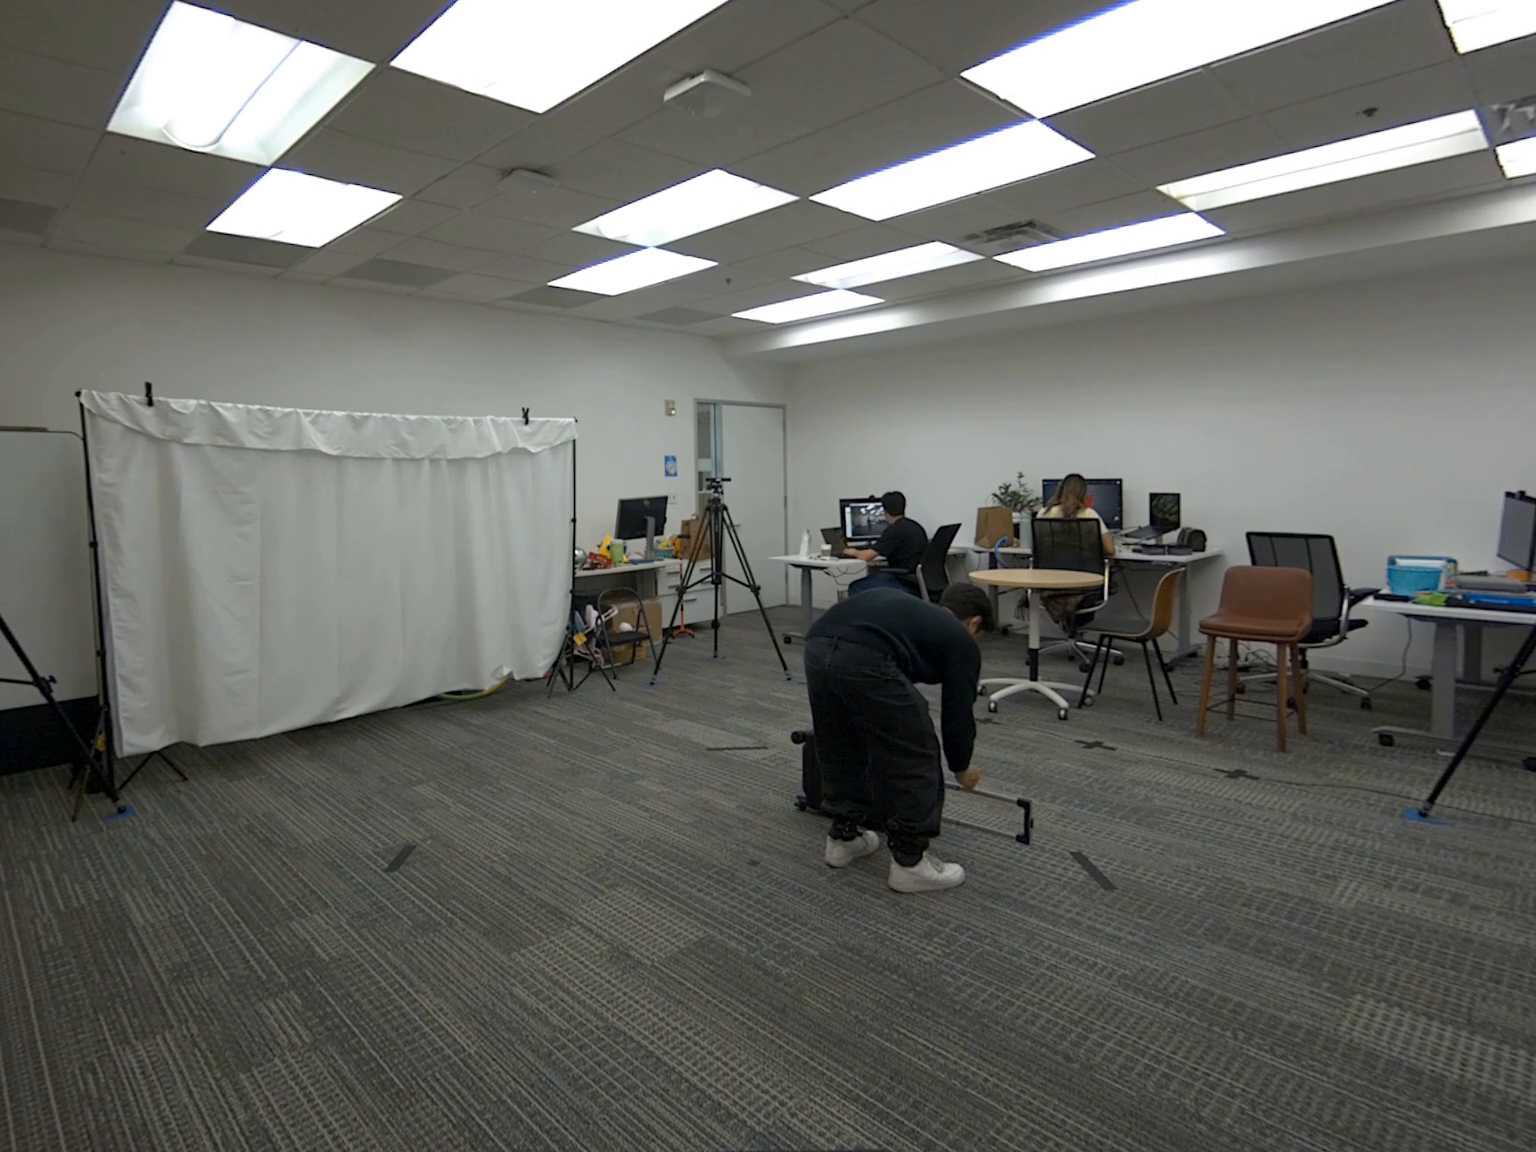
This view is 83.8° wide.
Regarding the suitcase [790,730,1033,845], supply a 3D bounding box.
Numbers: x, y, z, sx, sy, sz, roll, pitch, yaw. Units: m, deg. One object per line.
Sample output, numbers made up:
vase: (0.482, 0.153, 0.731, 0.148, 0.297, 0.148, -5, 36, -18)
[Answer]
suitcase: (0.571, 0.817, 3.382, 1.007, 0.382, 0.251, 3, 7, 37)
